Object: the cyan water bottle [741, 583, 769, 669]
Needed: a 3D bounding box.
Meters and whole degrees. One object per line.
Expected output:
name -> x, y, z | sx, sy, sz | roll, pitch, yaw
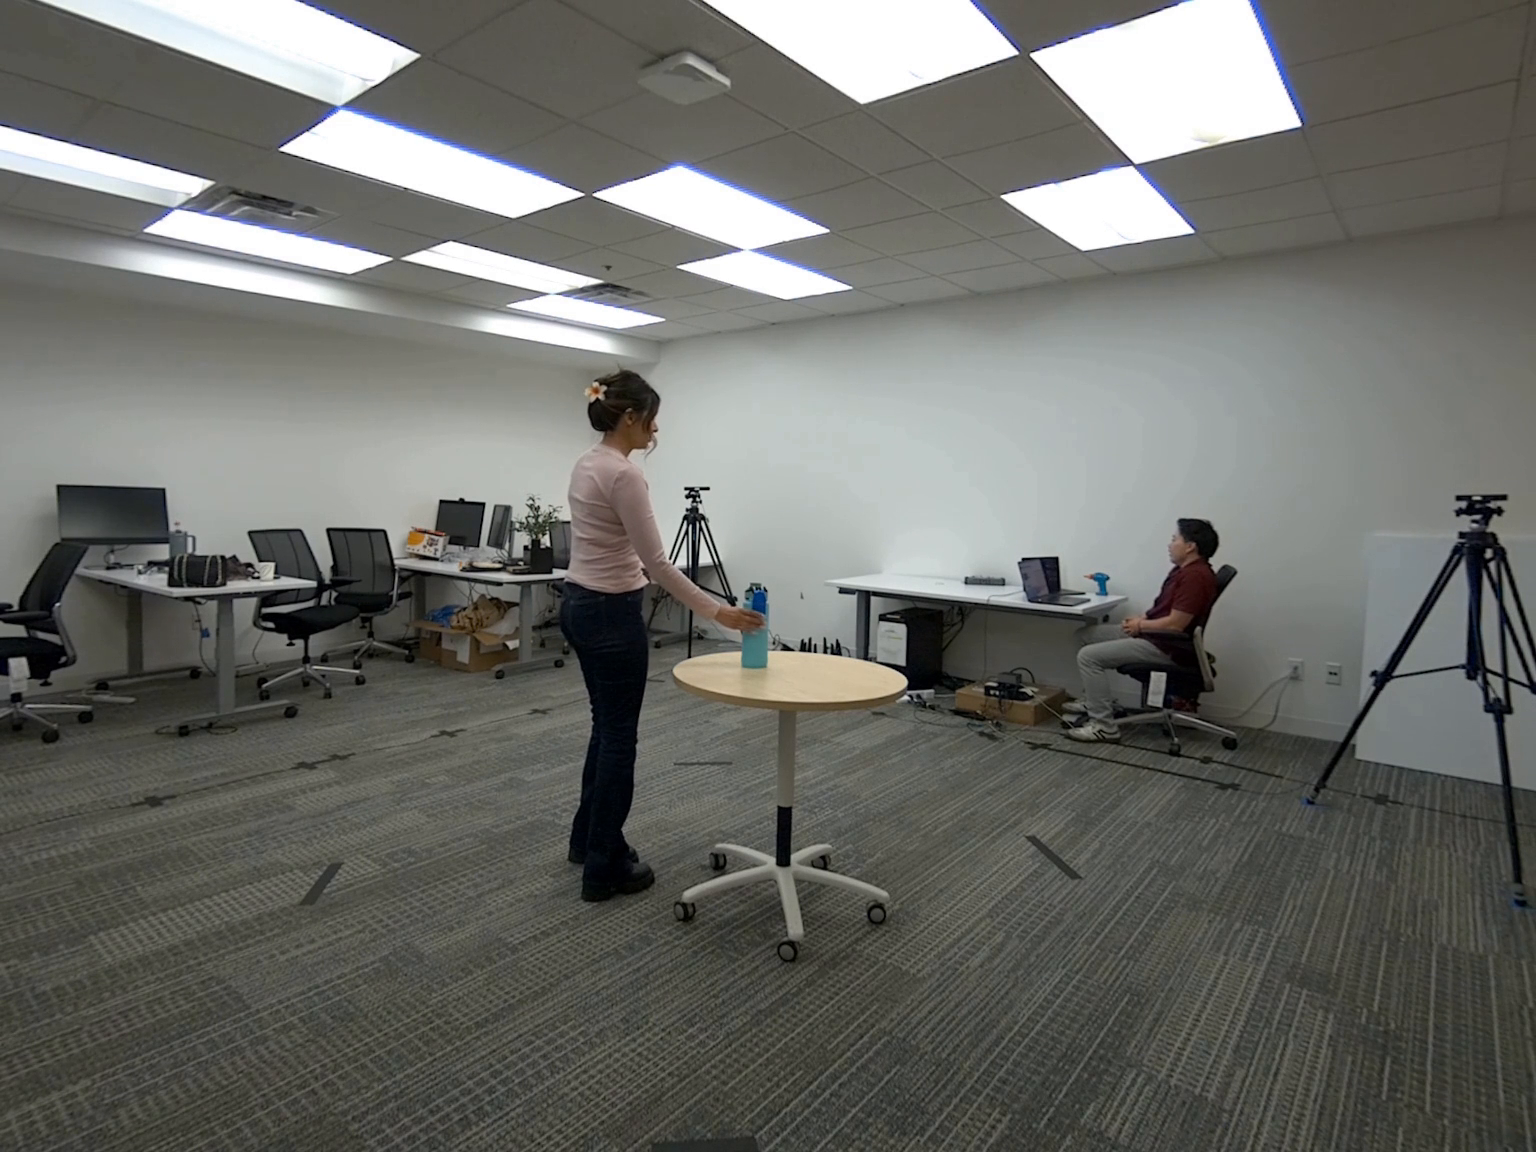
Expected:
cyan water bottle -> -0.054, 0.169, 2.885 | 0.092, 0.282, 0.093 | 1, 4, -2
